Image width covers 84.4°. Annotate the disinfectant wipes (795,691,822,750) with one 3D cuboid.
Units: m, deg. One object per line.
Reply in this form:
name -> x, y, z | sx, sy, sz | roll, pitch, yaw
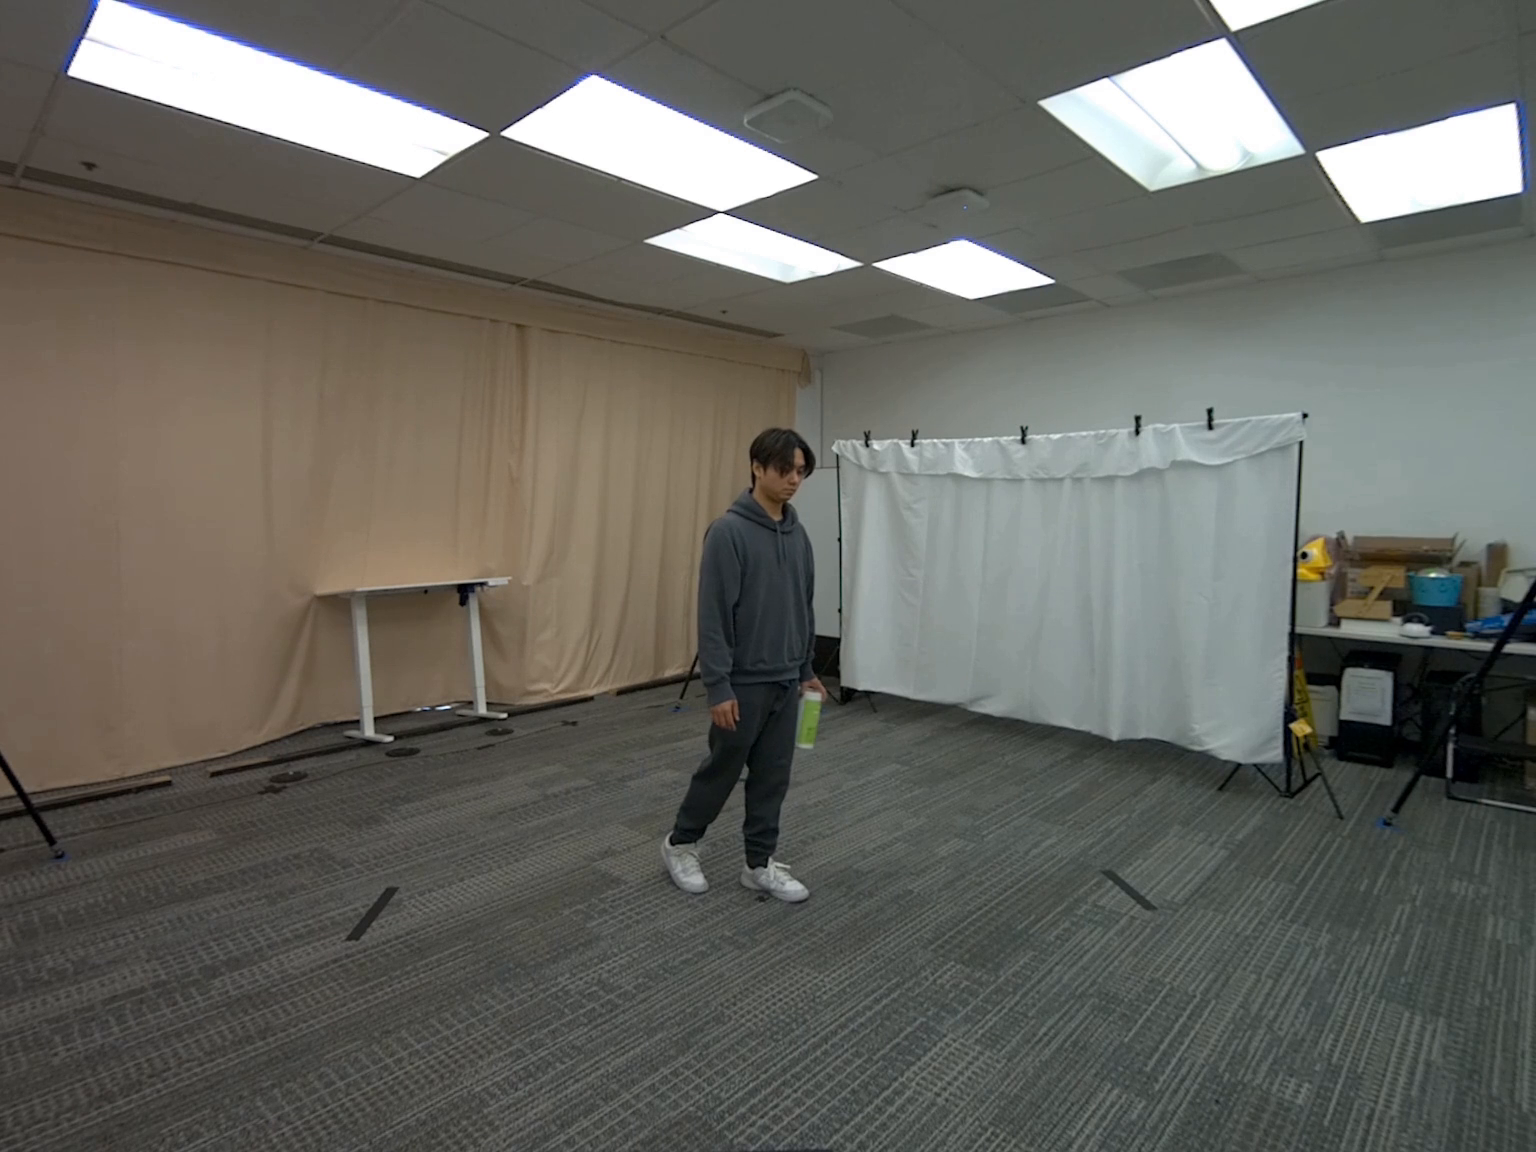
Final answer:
disinfectant wipes -> 0.143, 0.536, 3.187 | 0.117, 0.217, 0.118 | 8, 2, -2
